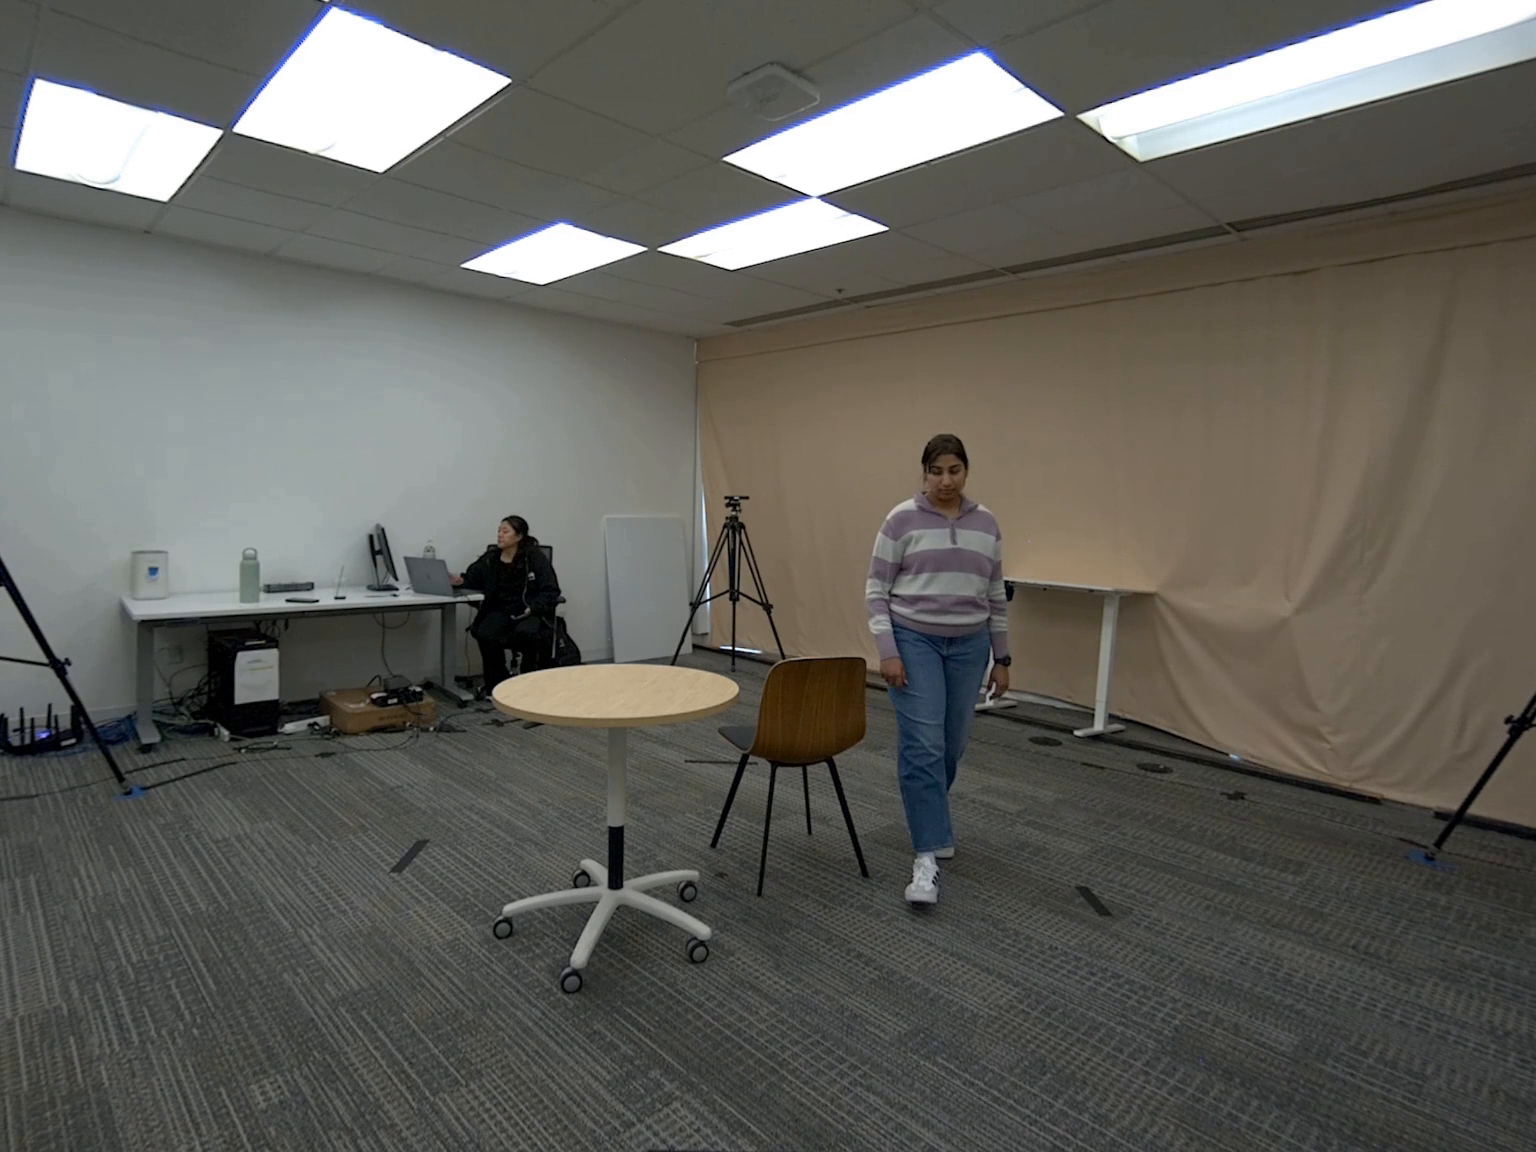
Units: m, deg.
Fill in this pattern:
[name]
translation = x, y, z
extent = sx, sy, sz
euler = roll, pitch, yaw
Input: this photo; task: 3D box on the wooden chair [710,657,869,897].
[wooden chair]
translation = 0.071, 0.672, 3.203
extent = 0.470, 0.873, 0.535
euler = 0, 8, -25
